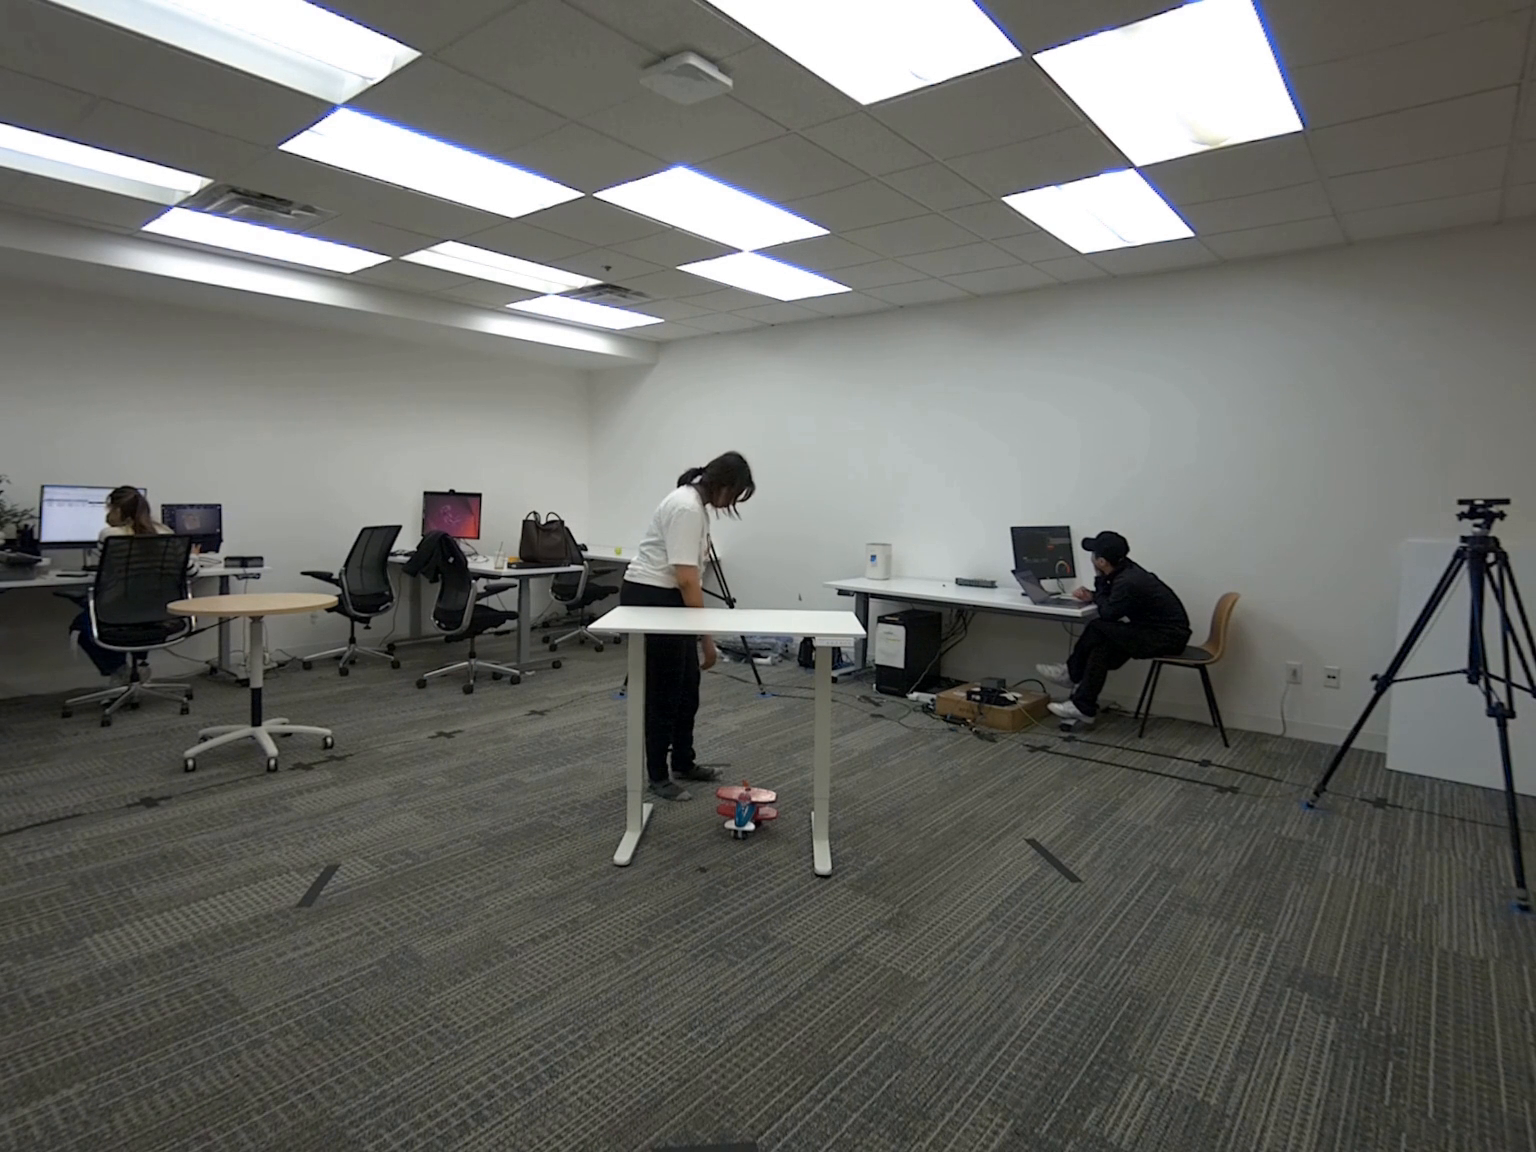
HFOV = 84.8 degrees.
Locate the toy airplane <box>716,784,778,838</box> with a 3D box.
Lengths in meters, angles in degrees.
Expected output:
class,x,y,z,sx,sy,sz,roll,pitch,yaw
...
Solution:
class,x,y,z,sx,sy,sz,roll,pitch,yaw
toy airplane,-0.084,0.963,3.475,0.247,0.156,0.264,-1,4,-17
